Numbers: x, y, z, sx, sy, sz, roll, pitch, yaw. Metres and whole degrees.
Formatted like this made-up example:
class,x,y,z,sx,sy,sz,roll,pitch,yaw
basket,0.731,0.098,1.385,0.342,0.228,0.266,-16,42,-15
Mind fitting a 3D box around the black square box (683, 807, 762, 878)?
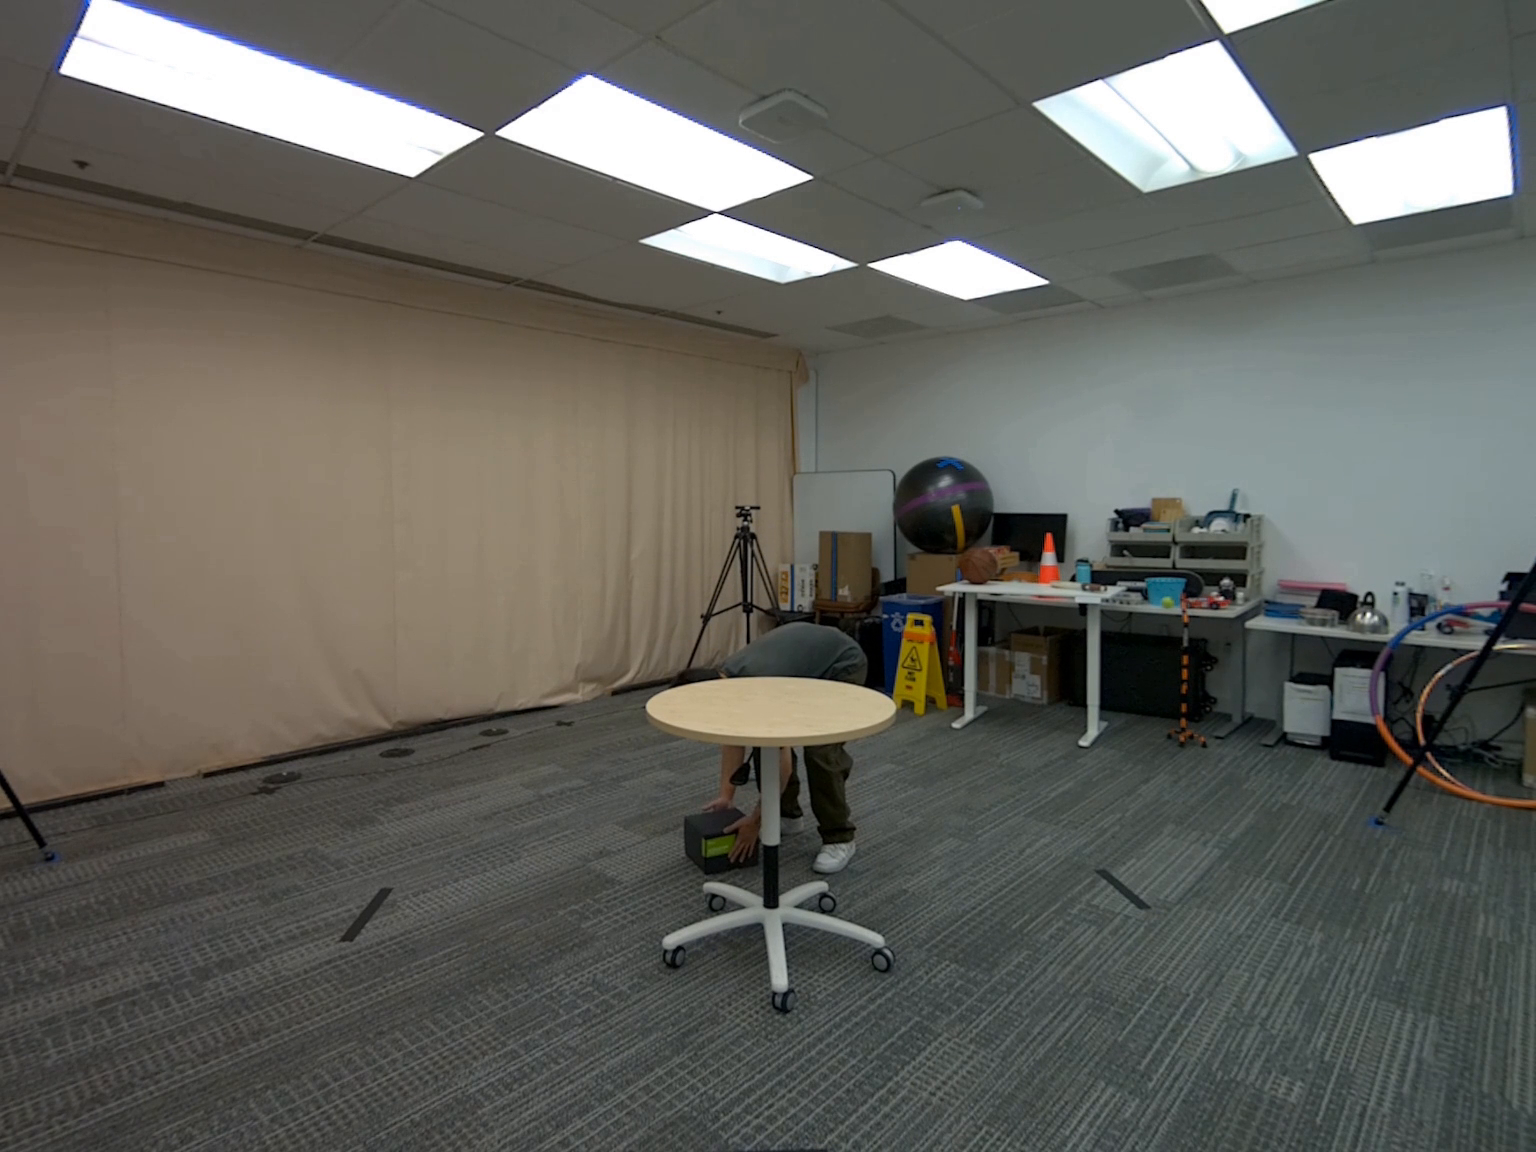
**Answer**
class,x,y,z,sx,sy,sz,roll,pitch,yaw
black square box,-0.183,1.036,3.314,0.222,0.155,0.223,-4,5,-27
